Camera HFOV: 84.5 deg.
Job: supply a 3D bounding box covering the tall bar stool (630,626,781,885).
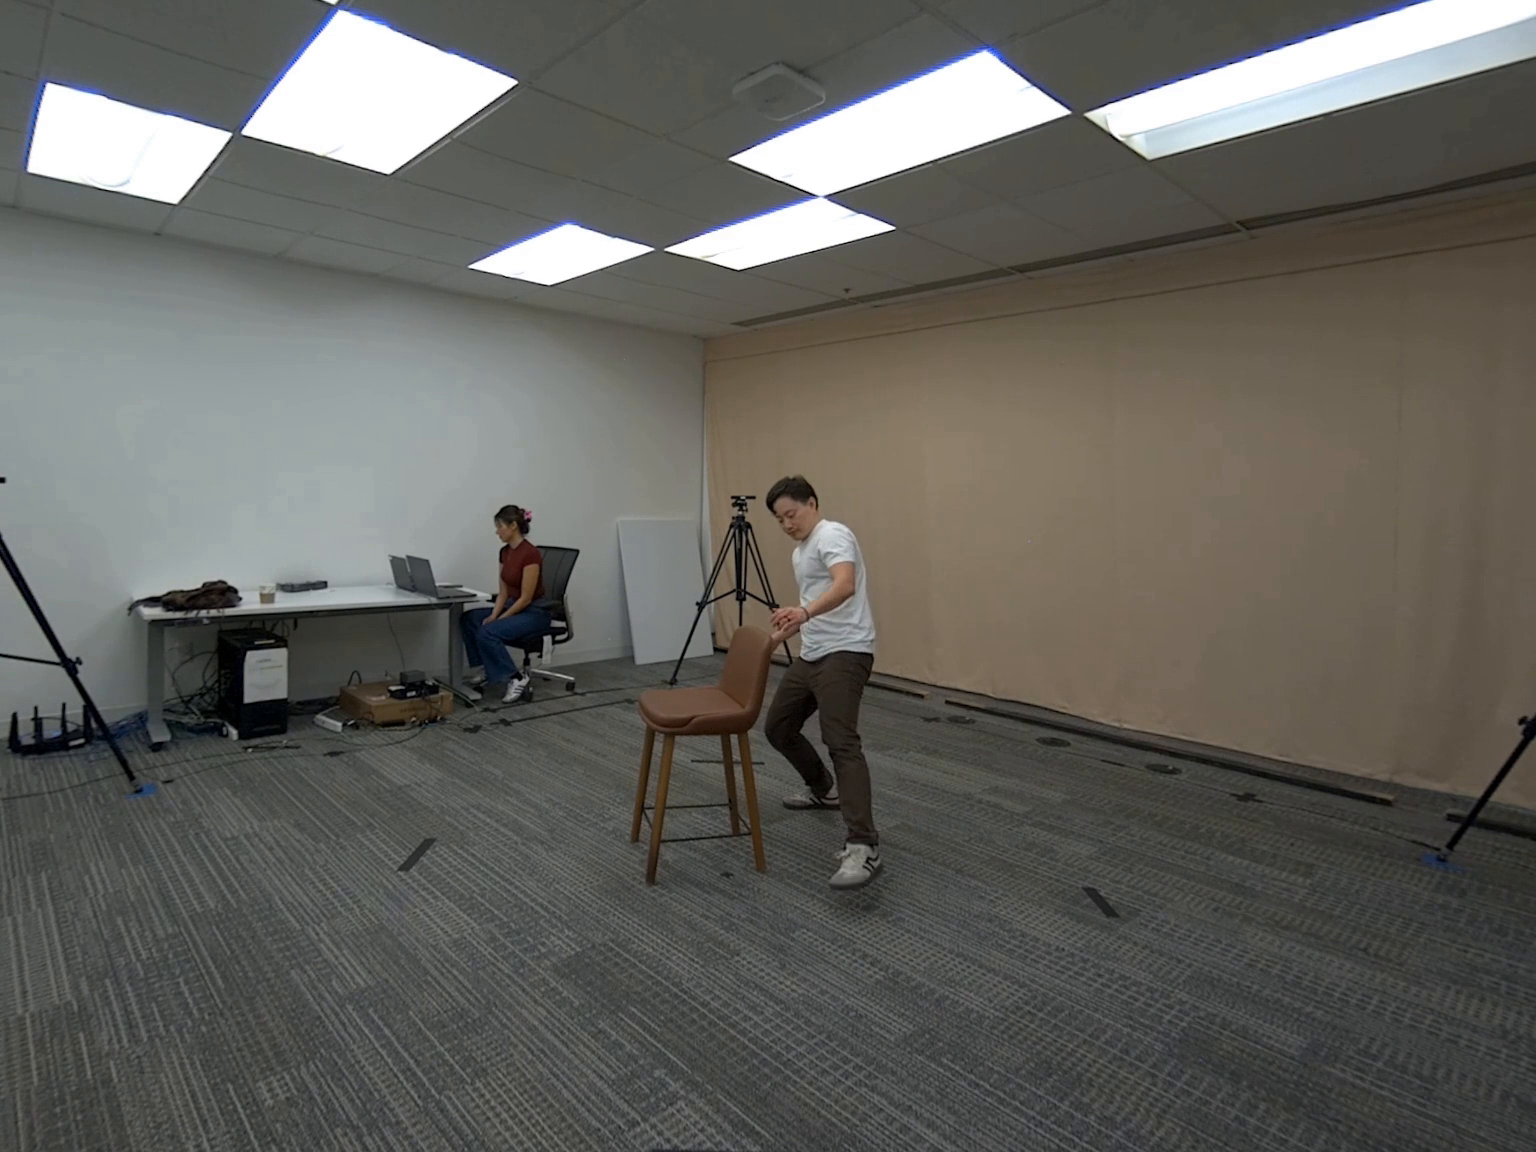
[{"bbox_3d":[-0.263,0.650,3.232,0.461,0.888,0.464,3,3,-17],"label":"tall bar stool"}]
